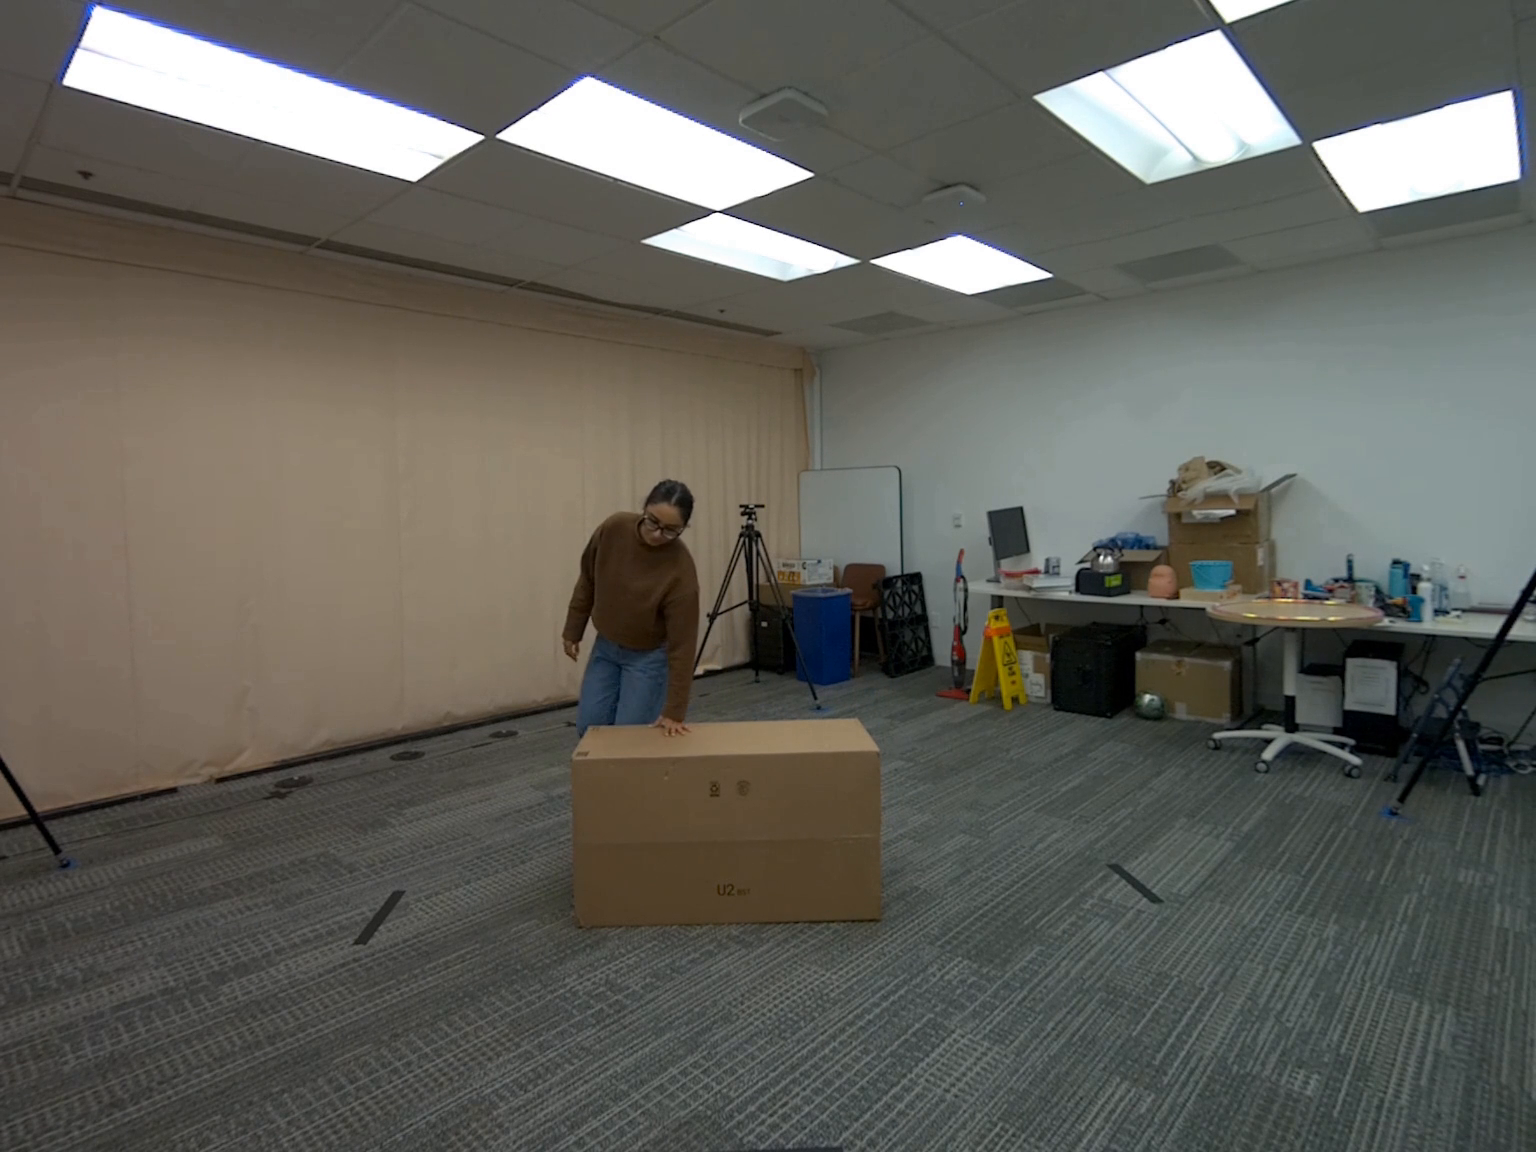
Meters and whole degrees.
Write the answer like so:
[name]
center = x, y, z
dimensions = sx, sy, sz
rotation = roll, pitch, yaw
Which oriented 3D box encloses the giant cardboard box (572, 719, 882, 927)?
[giant cardboard box]
center = -0.146, 0.857, 2.990
dimensions = 1.027, 0.582, 0.448
rotation = -1, 4, 0
